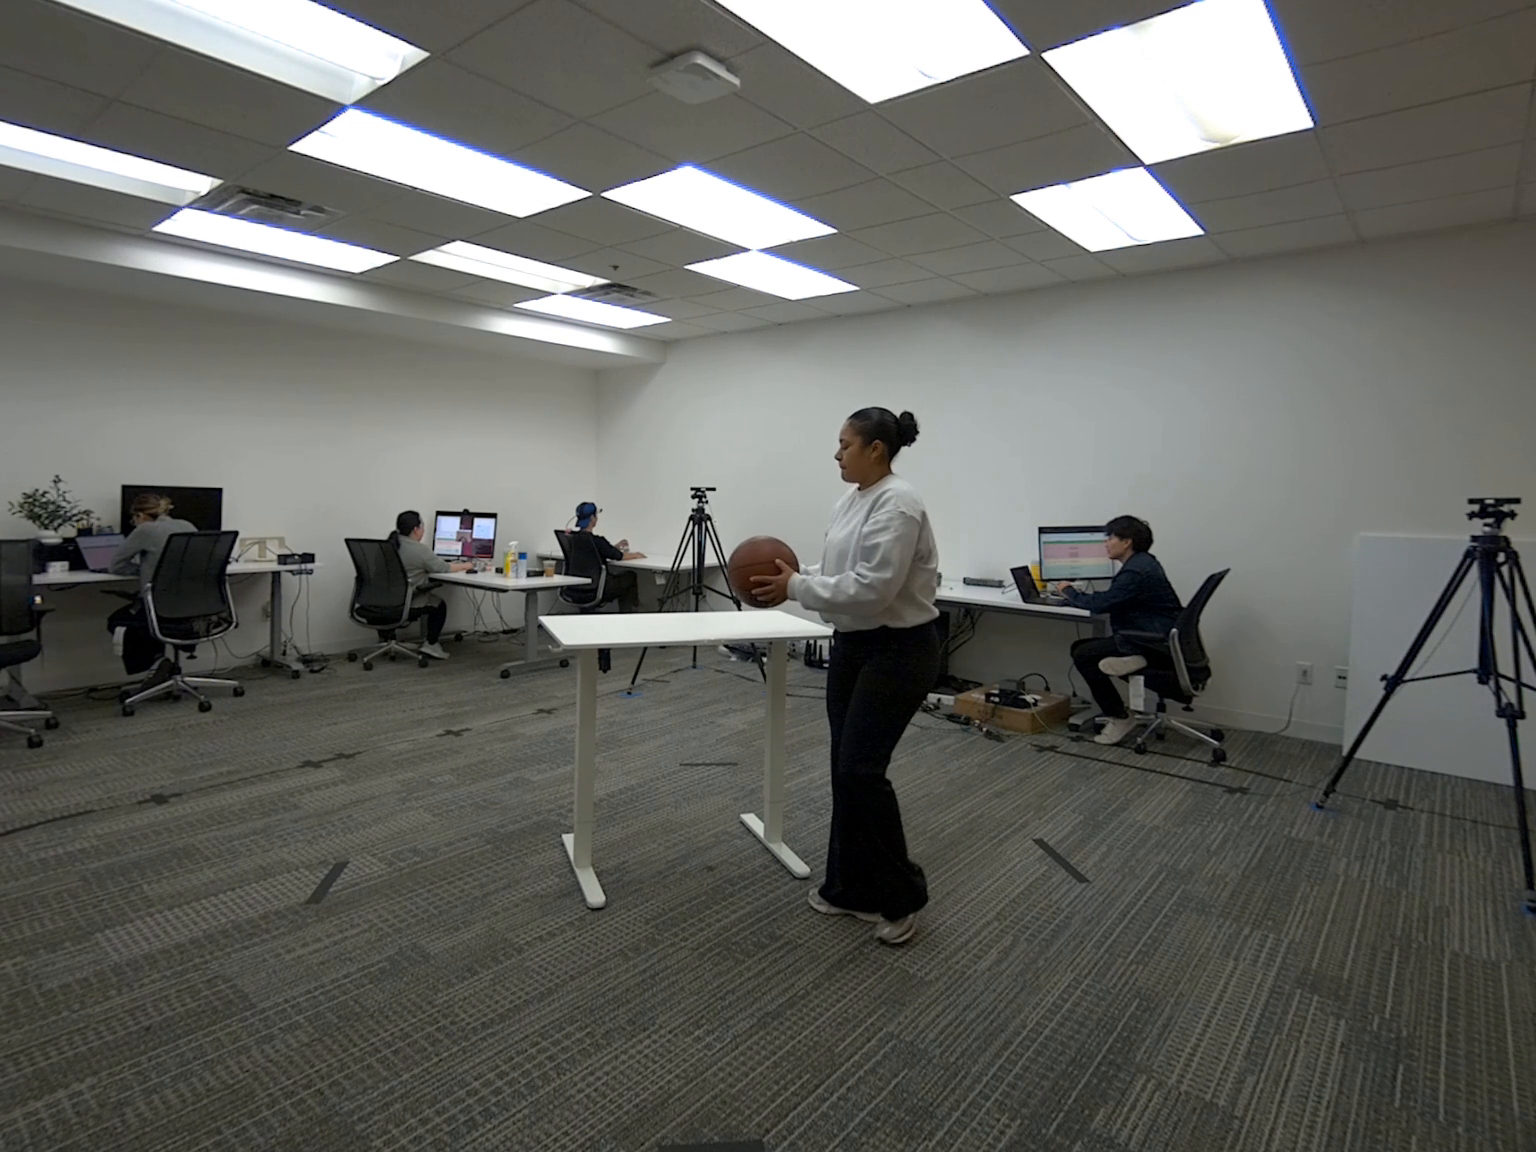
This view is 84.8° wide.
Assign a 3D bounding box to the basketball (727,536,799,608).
[{"bbox_3d":[-0.017,-0.006,2.806,0.235,0.235,0.237,1,4,-2],"label":"basketball"}]
